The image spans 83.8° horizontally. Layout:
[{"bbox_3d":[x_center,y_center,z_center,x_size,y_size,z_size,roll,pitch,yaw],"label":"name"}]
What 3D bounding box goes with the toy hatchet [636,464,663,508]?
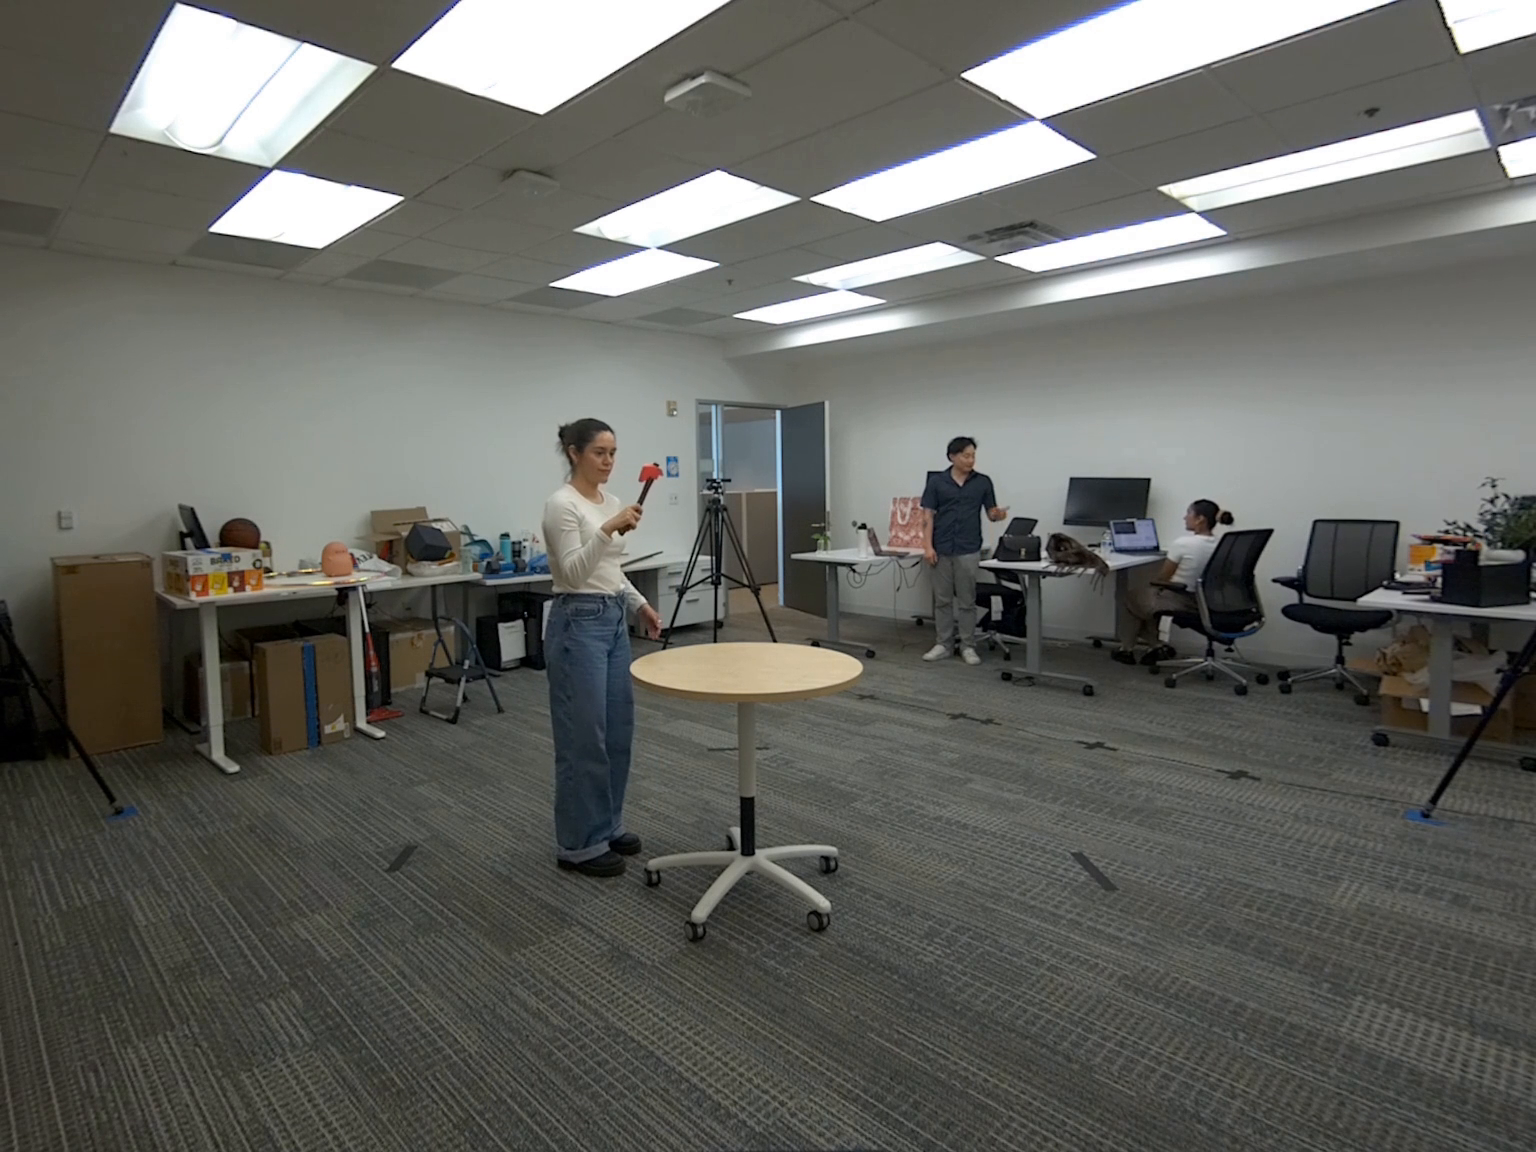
[{"bbox_3d":[-0.447,-0.274,2.894,0.030,0.271,0.127,28,-14,18],"label":"toy hatchet"}]
